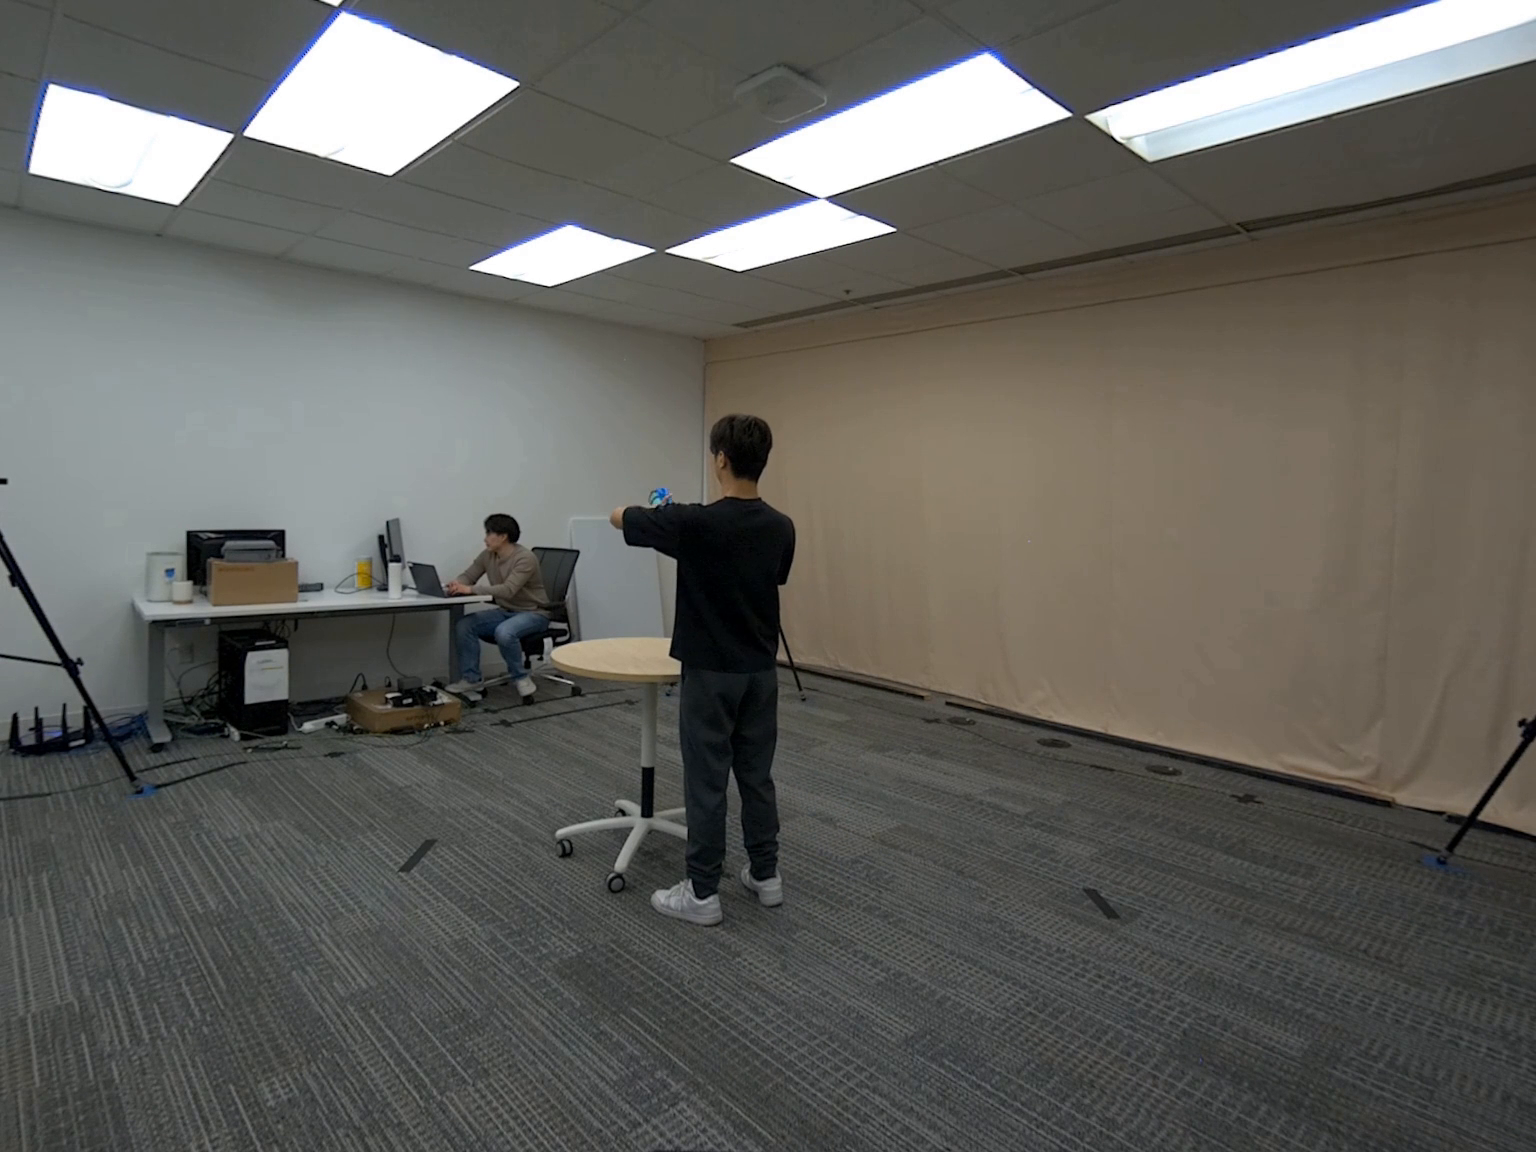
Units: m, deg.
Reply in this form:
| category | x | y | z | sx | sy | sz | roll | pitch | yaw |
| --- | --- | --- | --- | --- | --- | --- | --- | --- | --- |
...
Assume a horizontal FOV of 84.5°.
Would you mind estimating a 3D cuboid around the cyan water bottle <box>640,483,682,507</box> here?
| category | x | y | z | sx | sy | sz | roll | pitch | yaw |
| --- | --- | --- | --- | --- | --- | --- | --- | --- | --- |
| cyan water bottle | -0.362 | -0.209 | 3.117 | 0.090 | 0.092 | 0.291 | -2 | 49 | -40 |
